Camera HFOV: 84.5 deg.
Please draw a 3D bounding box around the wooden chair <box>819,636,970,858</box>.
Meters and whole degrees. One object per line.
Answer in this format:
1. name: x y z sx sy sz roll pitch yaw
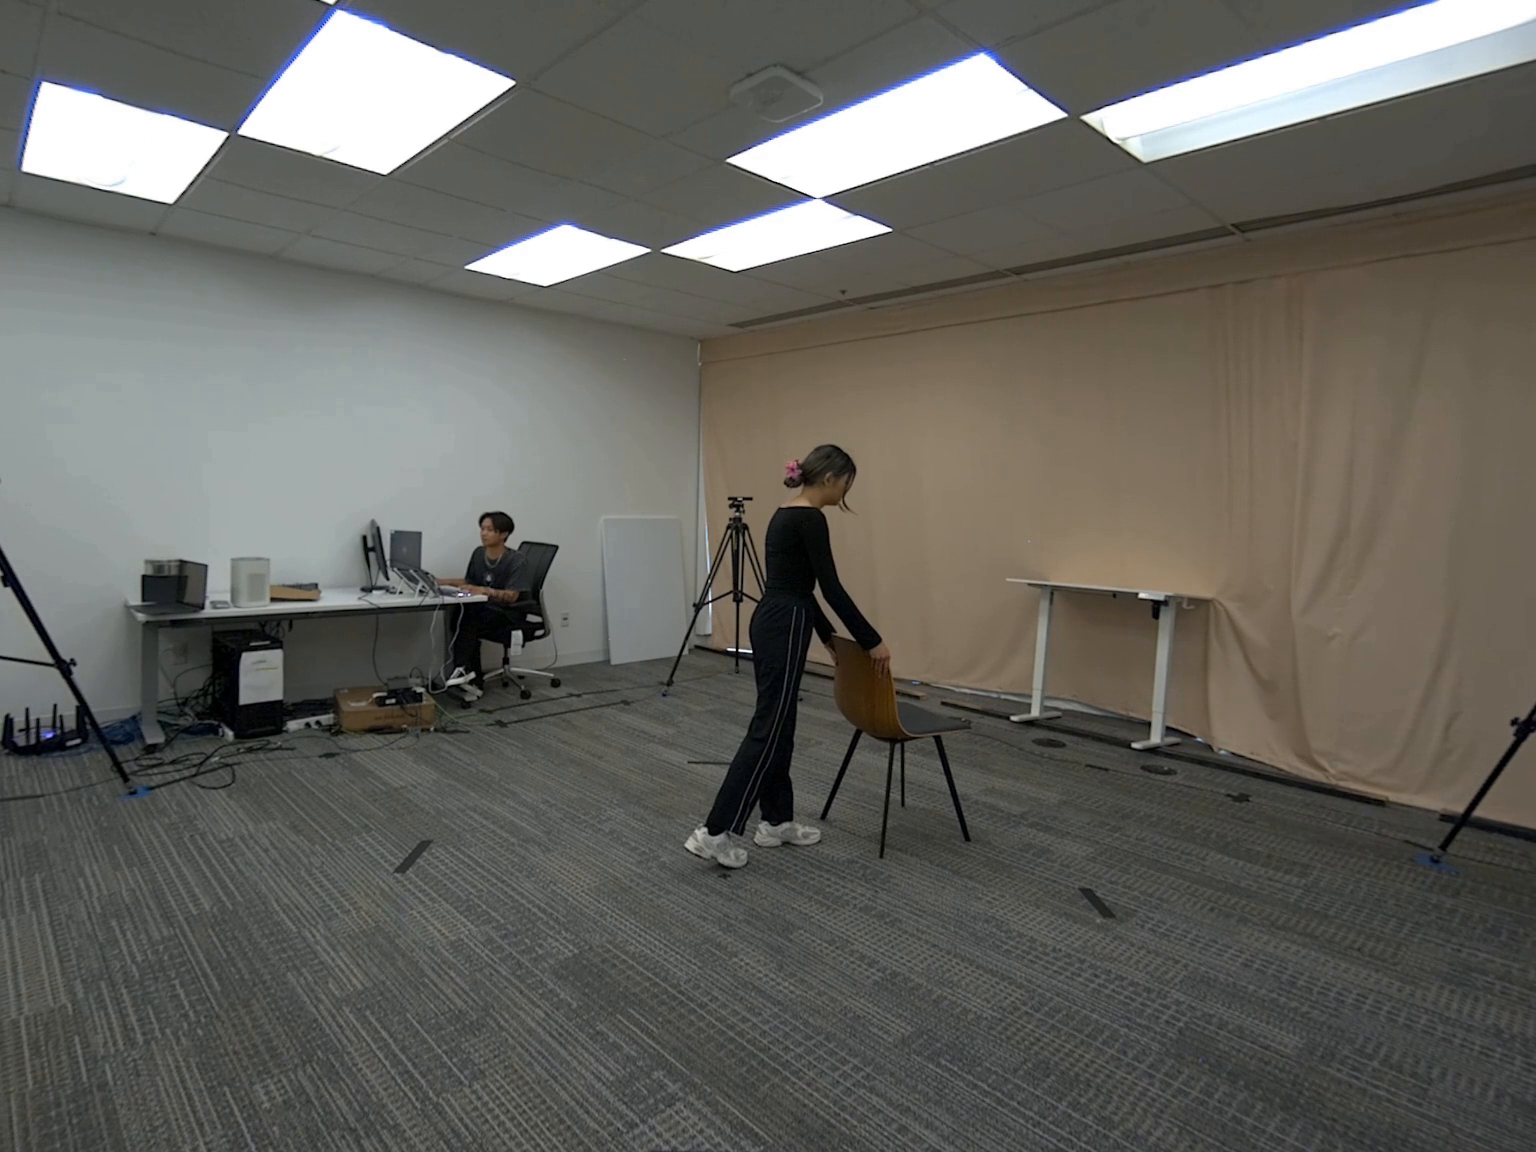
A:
1. wooden chair: 0.544 0.656 3.564 0.514 0.874 0.488 -5 5 -27
